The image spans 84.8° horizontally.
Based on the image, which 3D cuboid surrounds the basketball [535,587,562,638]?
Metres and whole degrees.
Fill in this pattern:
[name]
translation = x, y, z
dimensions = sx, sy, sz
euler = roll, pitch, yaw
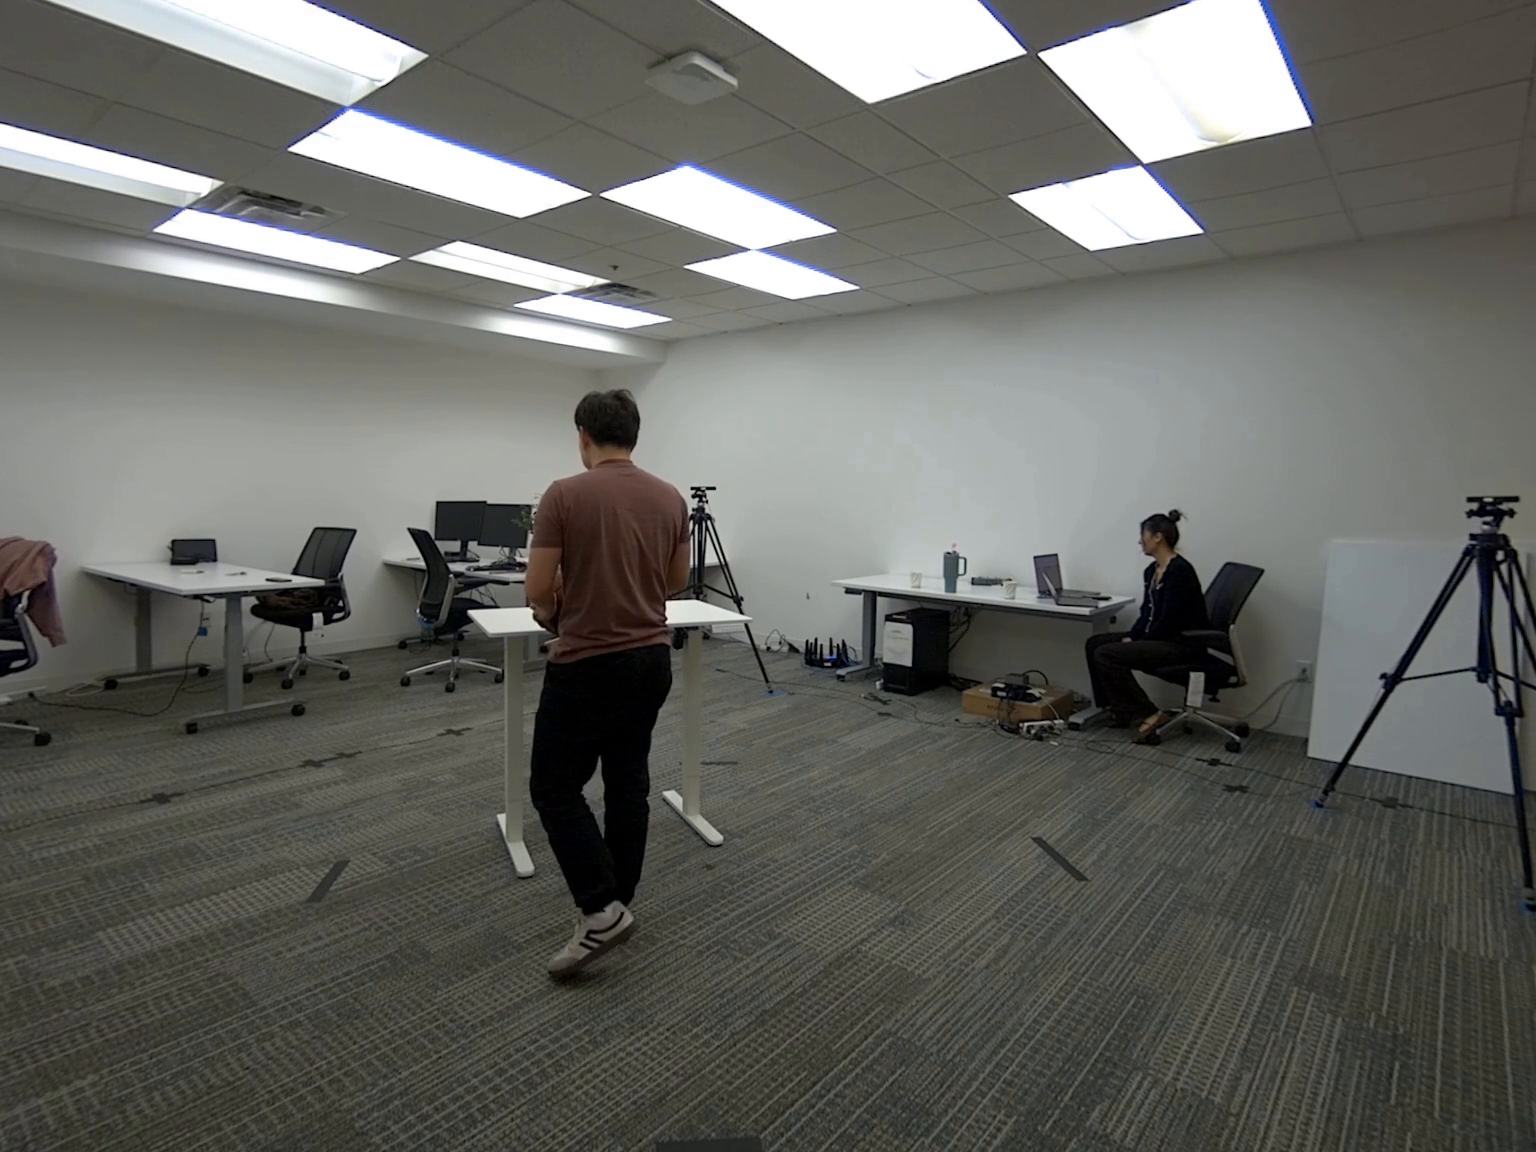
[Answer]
[basketball]
translation = -0.666, 0.088, 2.831
dimensions = 0.235, 0.235, 0.237
euler = 1, 4, -2
